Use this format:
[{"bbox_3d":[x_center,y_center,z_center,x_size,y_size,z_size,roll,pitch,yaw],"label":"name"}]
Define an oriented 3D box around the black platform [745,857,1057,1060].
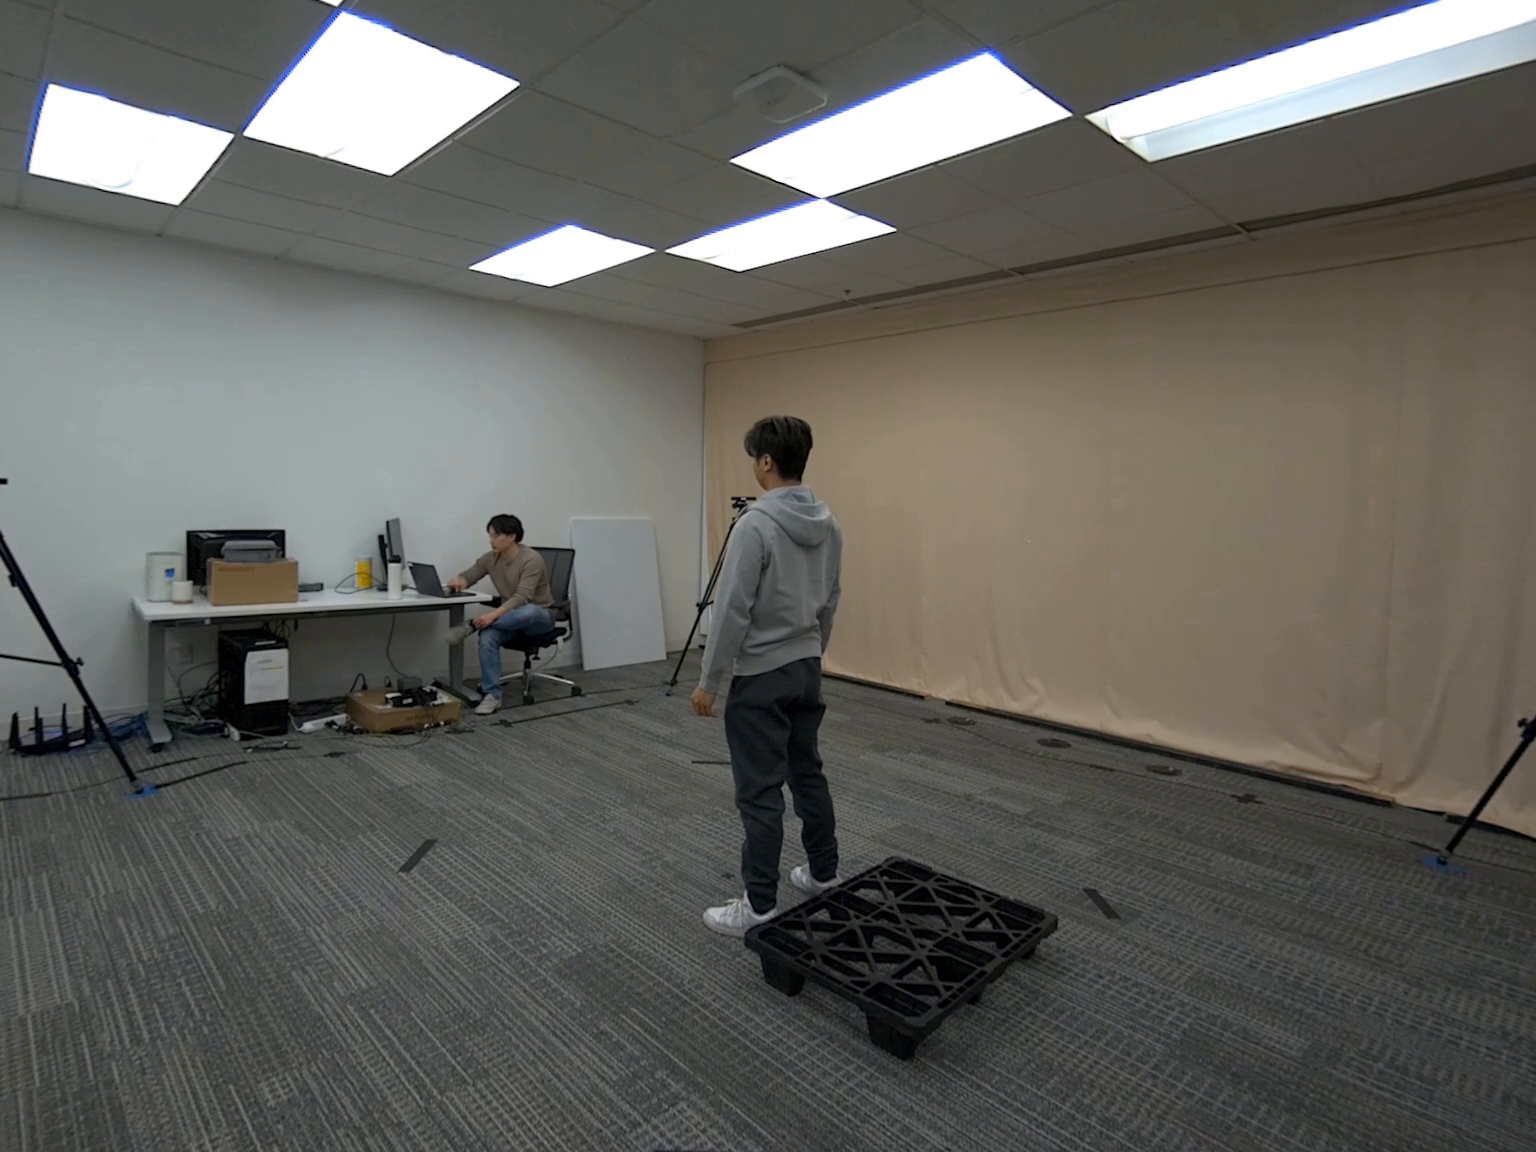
[{"bbox_3d":[0.396,1.104,2.521,0.621,0.143,0.787,6,7,43],"label":"black platform"}]
